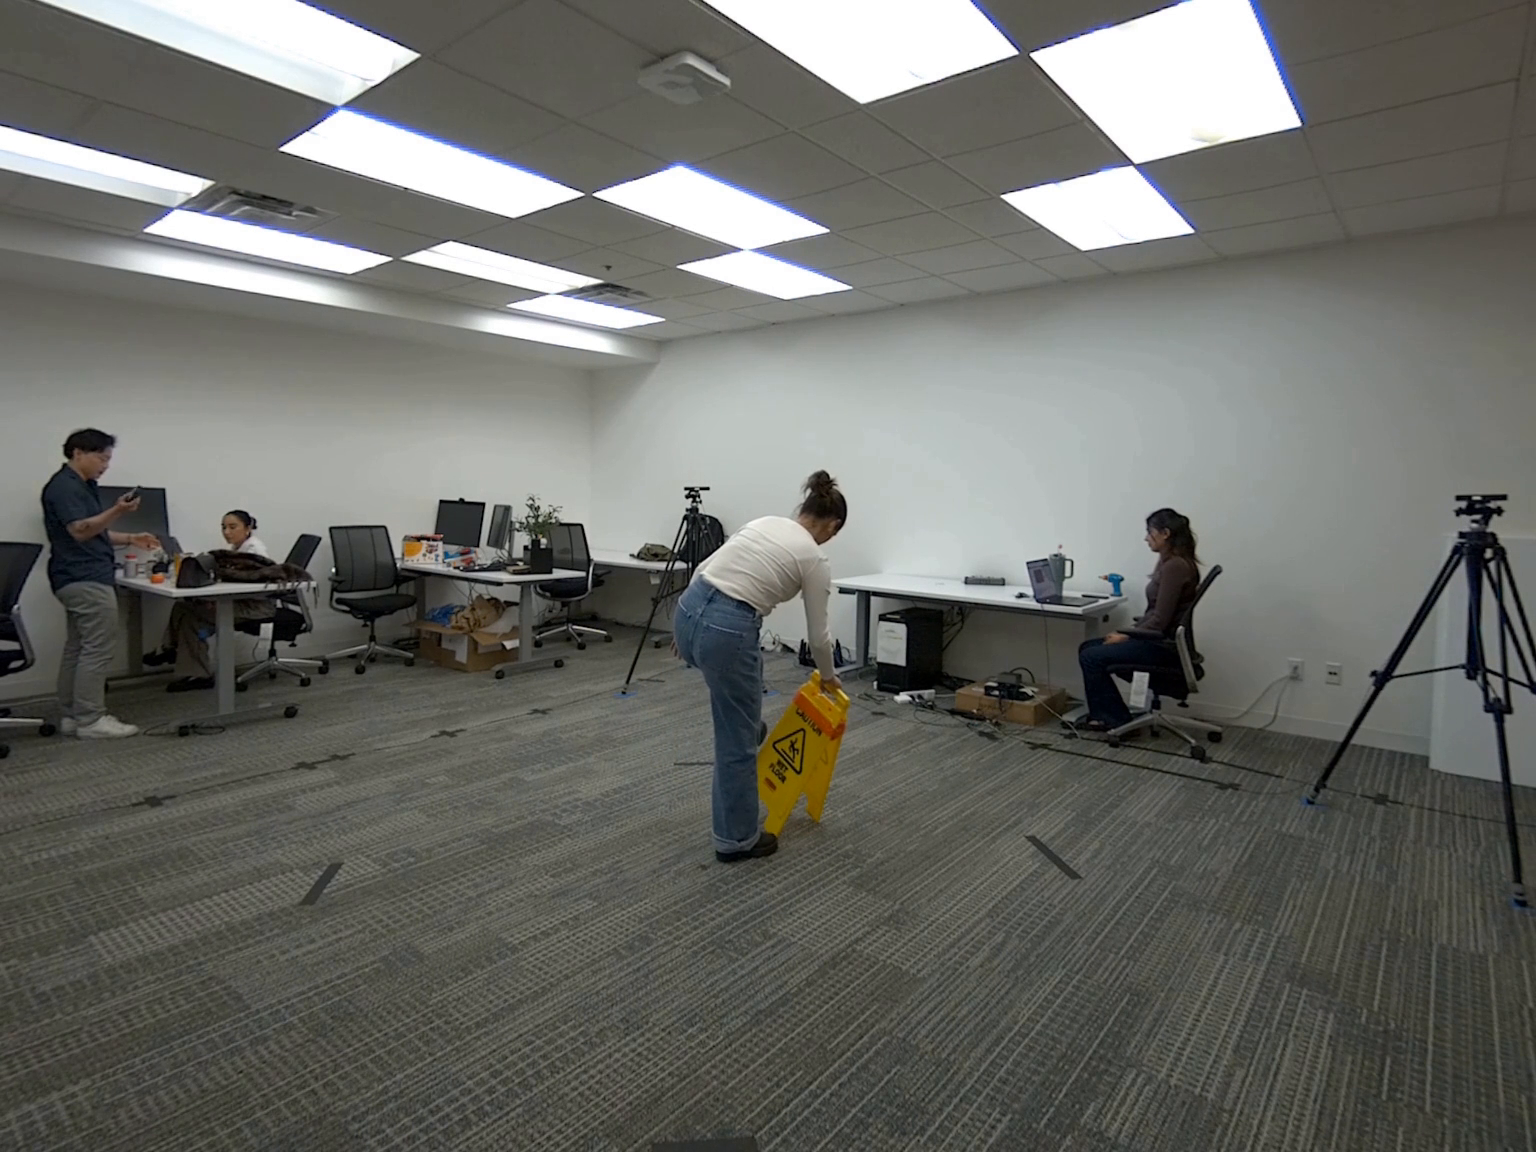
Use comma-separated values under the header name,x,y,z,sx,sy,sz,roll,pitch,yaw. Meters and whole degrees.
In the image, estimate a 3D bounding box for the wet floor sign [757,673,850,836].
name,x,y,z,sx,sy,sz,roll,pitch,yaw
wet floor sign,0.133,0.692,3.443,0.281,0.639,0.294,-2,32,-44
